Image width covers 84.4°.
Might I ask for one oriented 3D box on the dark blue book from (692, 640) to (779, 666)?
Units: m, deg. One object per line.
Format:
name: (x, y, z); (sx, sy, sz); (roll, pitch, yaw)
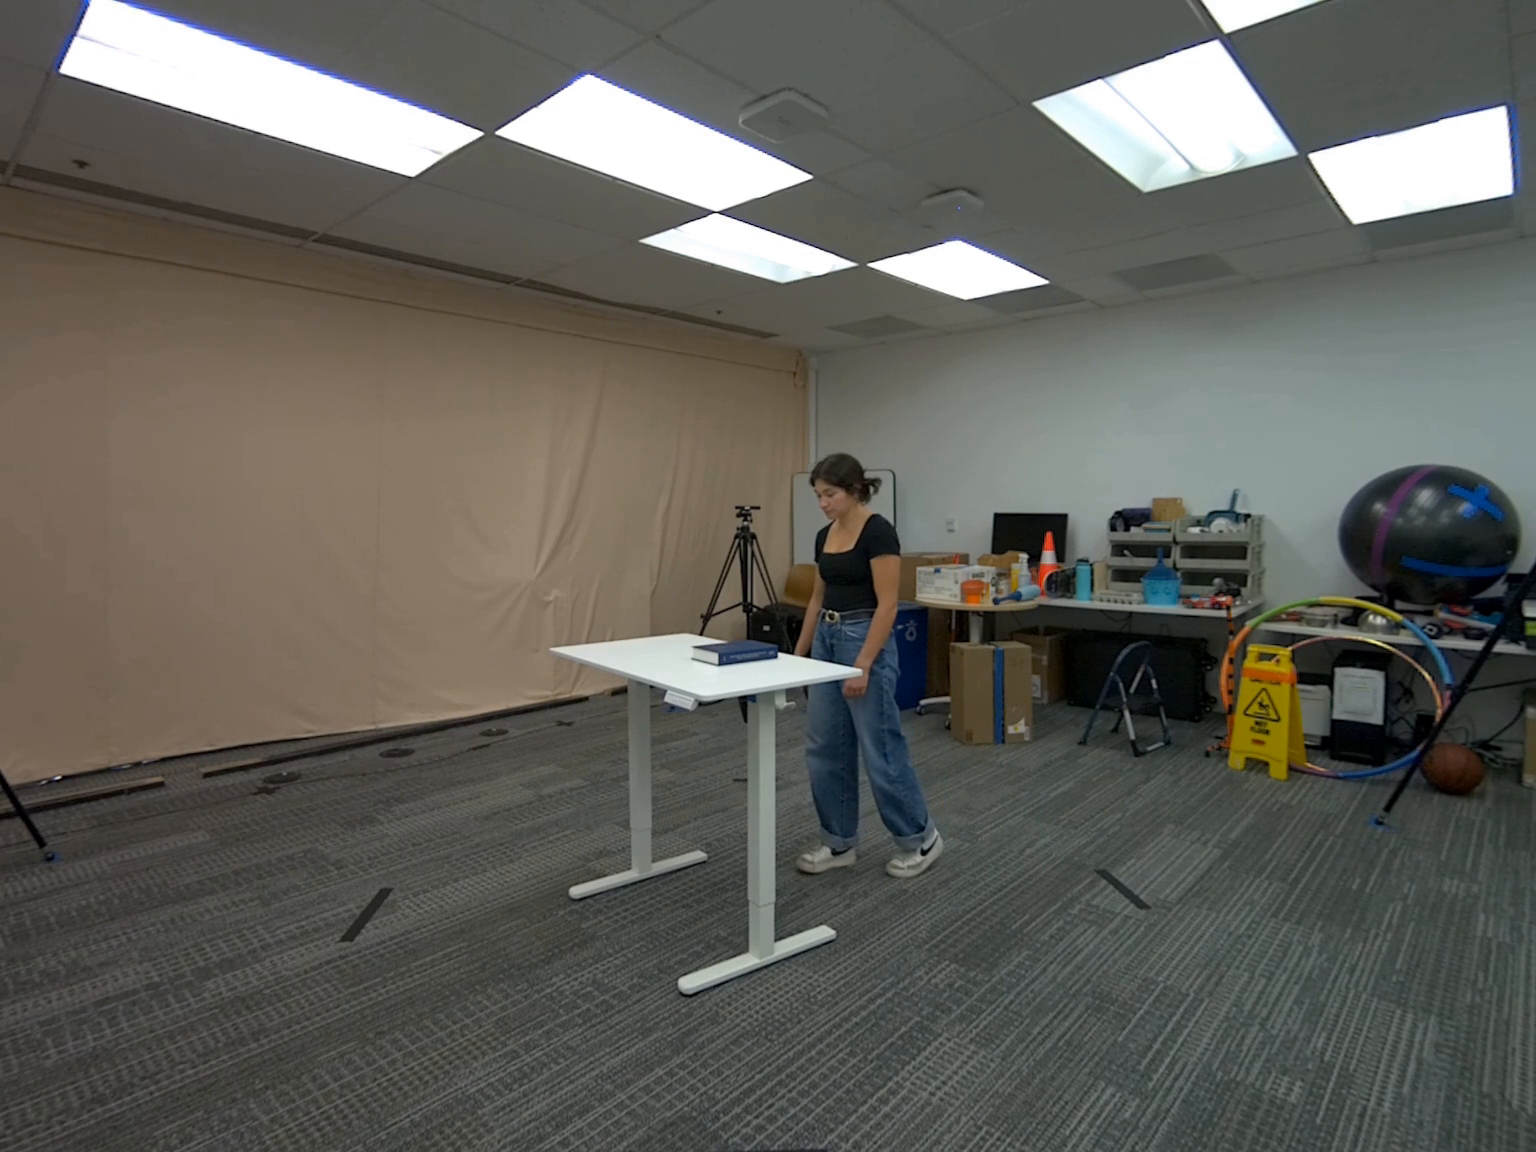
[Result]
dark blue book: (-0.099, 0.257, 2.810); (0.238, 0.045, 0.168); (-4, 6, -36)
